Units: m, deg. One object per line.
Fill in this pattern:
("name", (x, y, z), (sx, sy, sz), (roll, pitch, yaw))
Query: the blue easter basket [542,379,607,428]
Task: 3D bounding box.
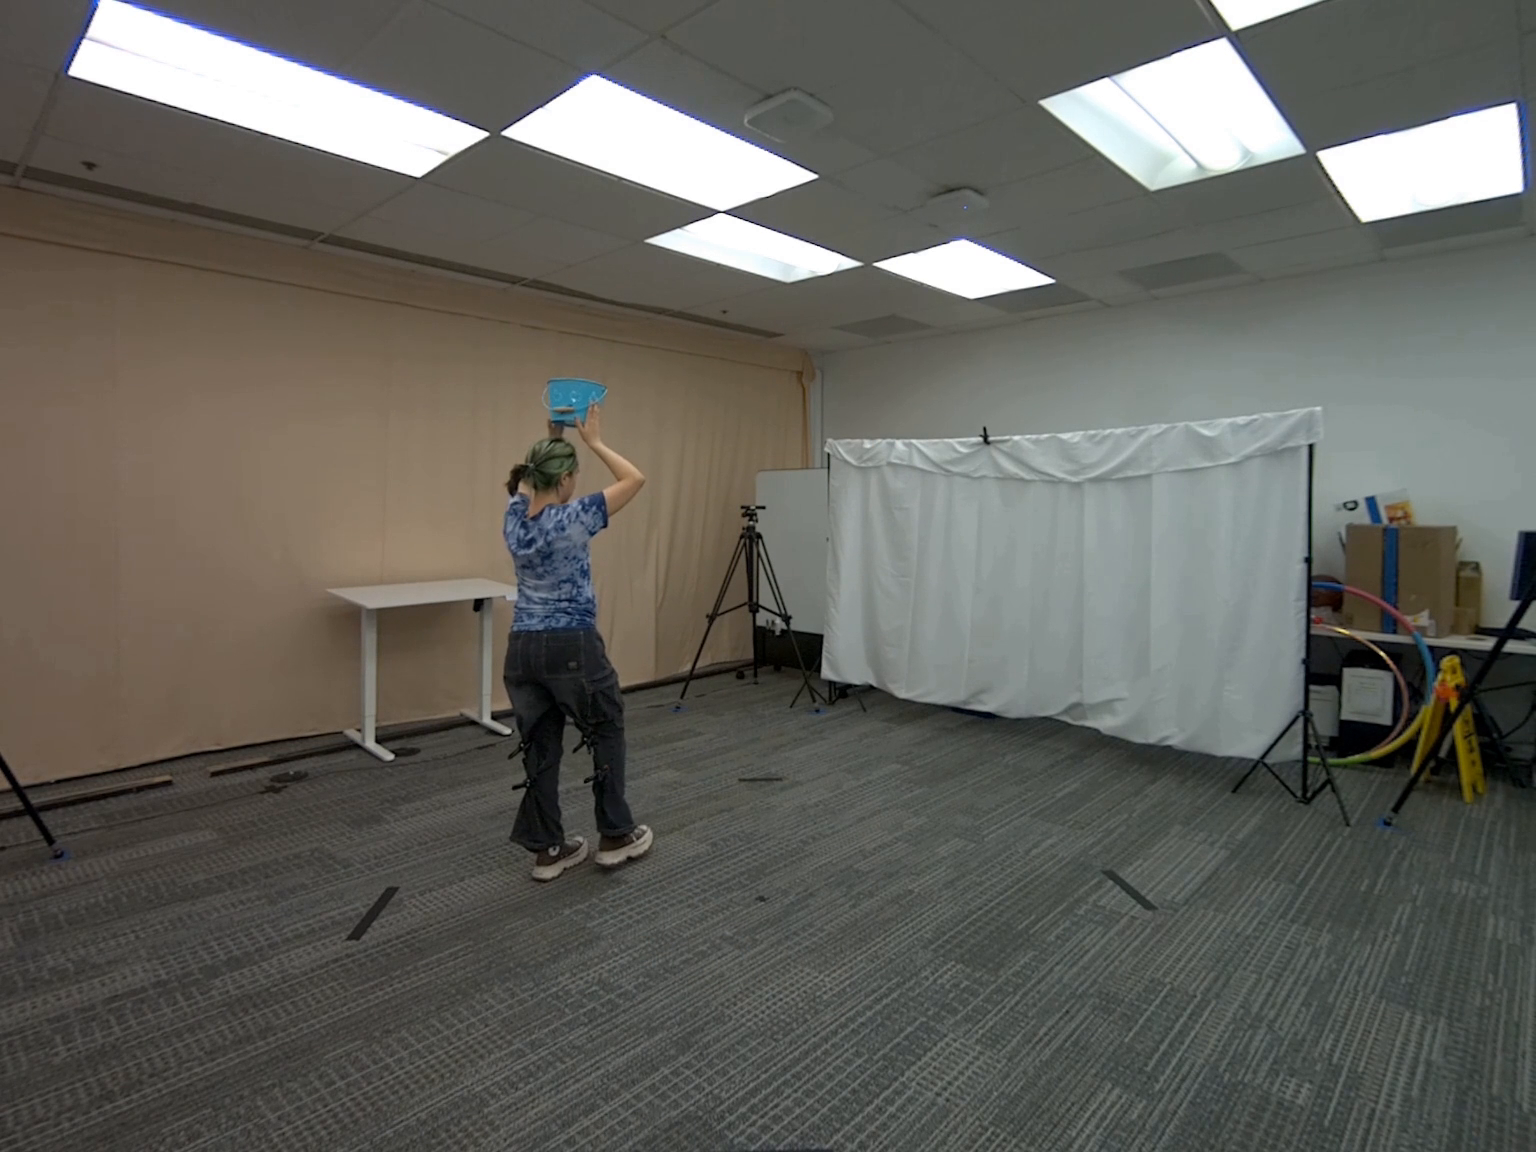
("blue easter basket", (-0.761, -0.668, 3.271), (0.243, 0.156, 0.243), (5, -2, -2))
